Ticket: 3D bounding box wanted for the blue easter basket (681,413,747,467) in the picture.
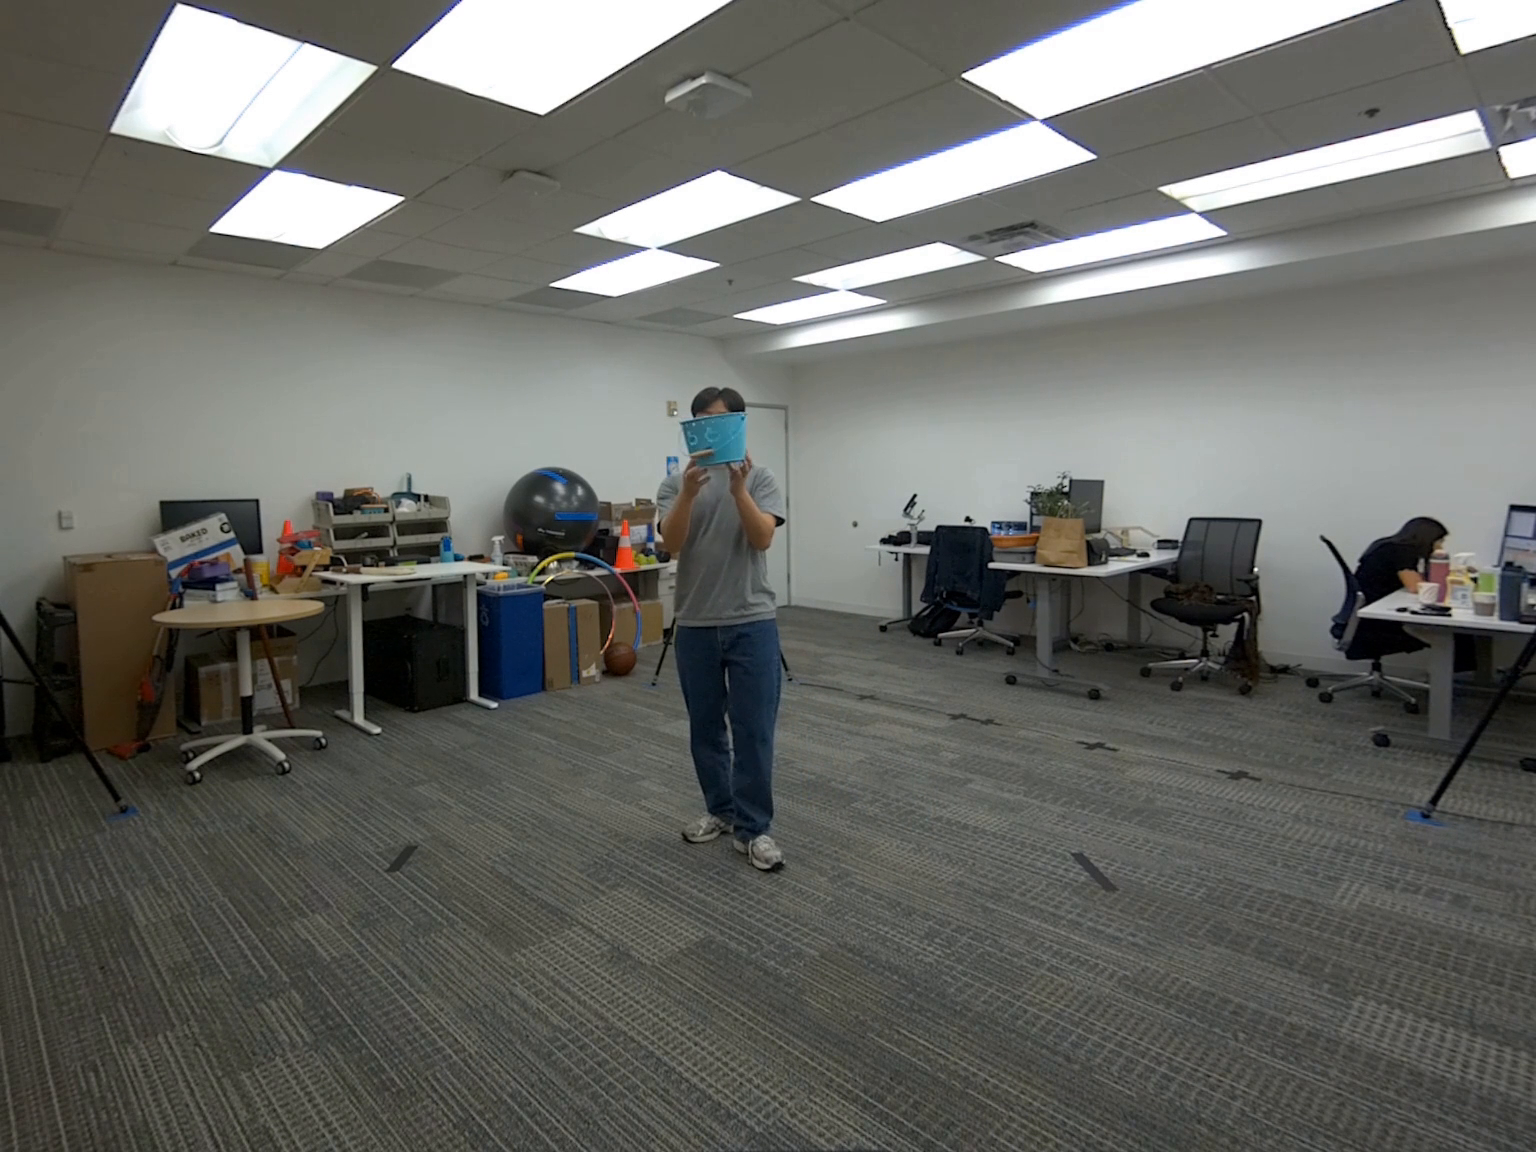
[{"bbox_3d":[-0.185,-0.448,2.855,0.243,0.155,0.245,-6,6,-1],"label":"blue easter basket"}]
